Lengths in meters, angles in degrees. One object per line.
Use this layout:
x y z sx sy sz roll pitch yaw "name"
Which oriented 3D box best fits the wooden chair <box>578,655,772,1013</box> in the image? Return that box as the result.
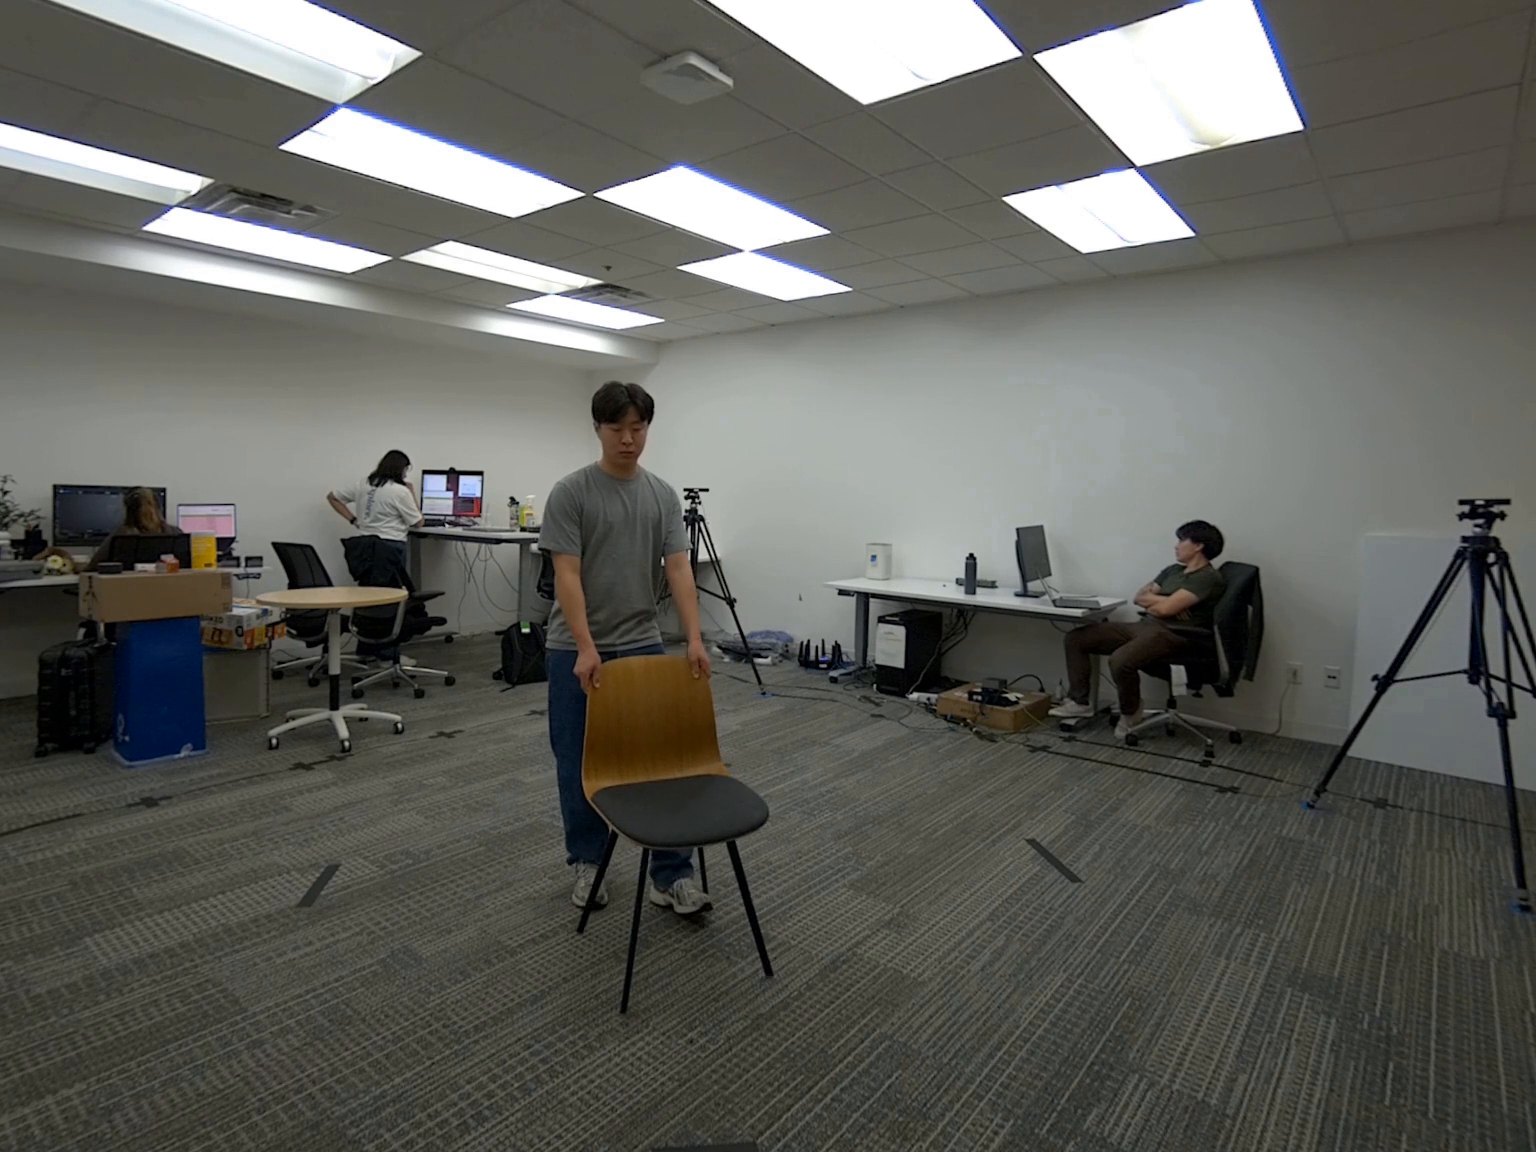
-0.285 0.696 2.502 0.466 0.879 0.535 0 -1 -26 "wooden chair"
